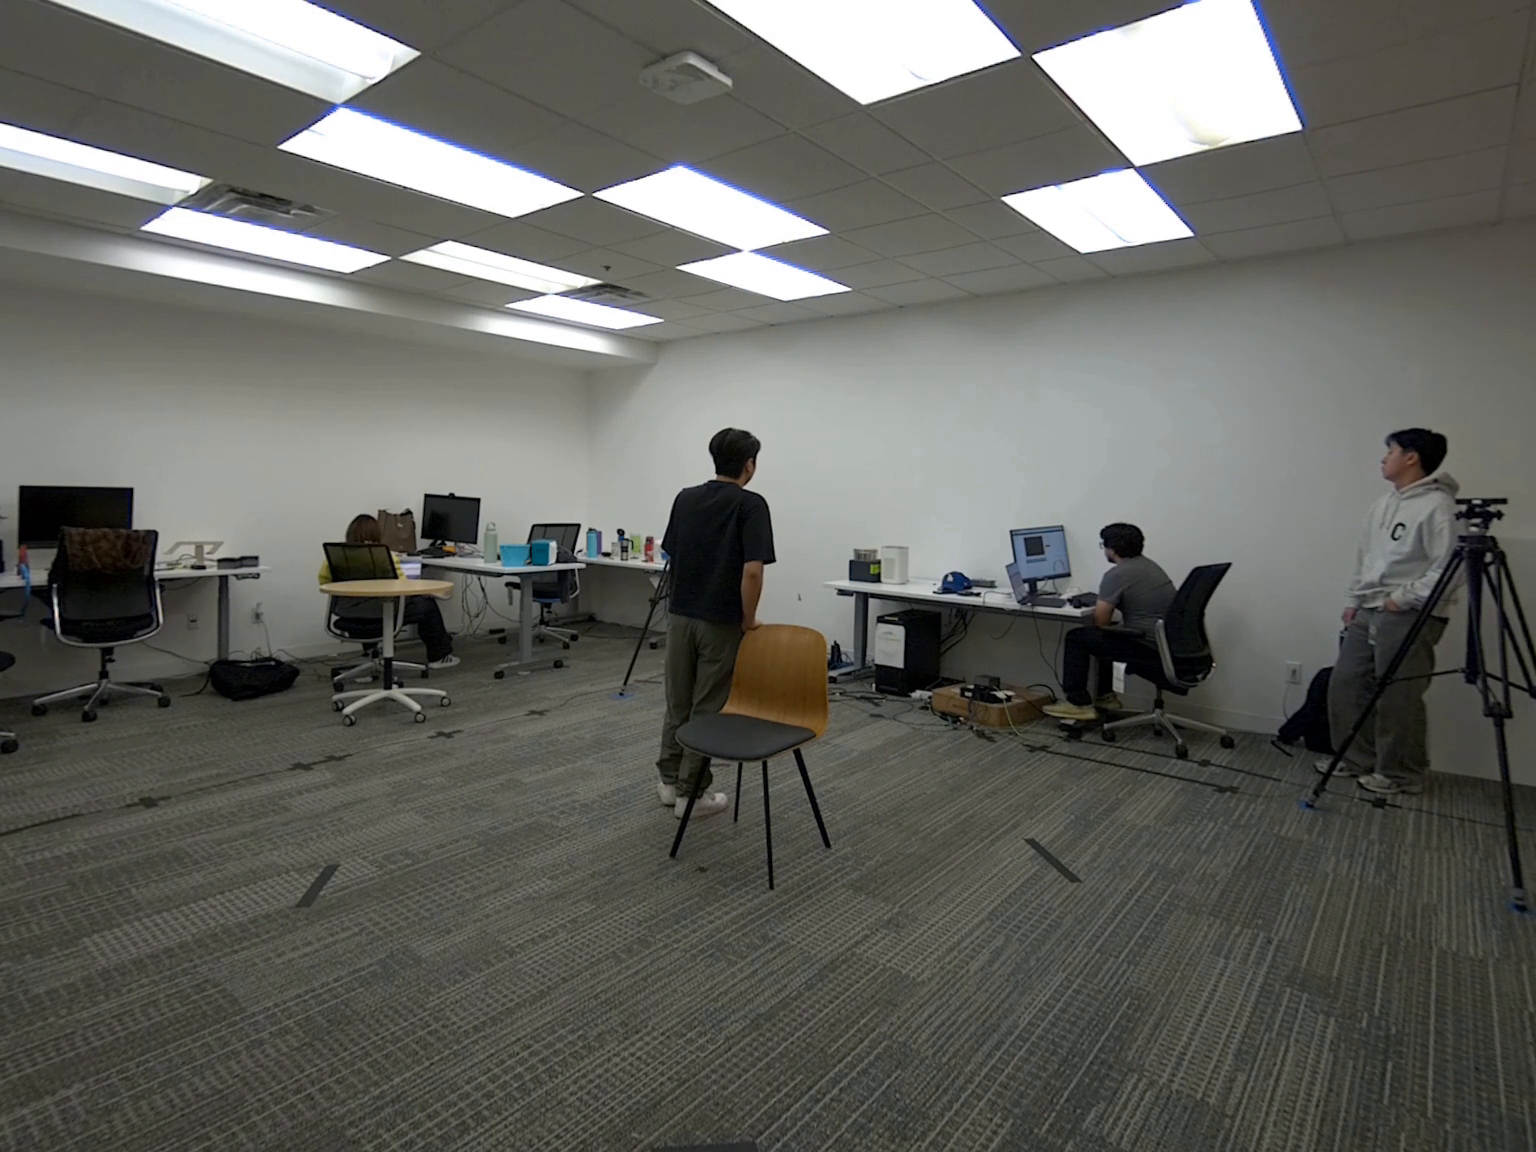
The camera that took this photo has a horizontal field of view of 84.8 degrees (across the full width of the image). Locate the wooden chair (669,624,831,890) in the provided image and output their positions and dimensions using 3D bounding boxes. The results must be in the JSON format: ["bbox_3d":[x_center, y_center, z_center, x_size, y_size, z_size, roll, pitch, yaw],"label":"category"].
[{"bbox_3d":[-0.060,0.635,3.227,0.493,0.878,0.507,3,0,33],"label":"wooden chair"}]
